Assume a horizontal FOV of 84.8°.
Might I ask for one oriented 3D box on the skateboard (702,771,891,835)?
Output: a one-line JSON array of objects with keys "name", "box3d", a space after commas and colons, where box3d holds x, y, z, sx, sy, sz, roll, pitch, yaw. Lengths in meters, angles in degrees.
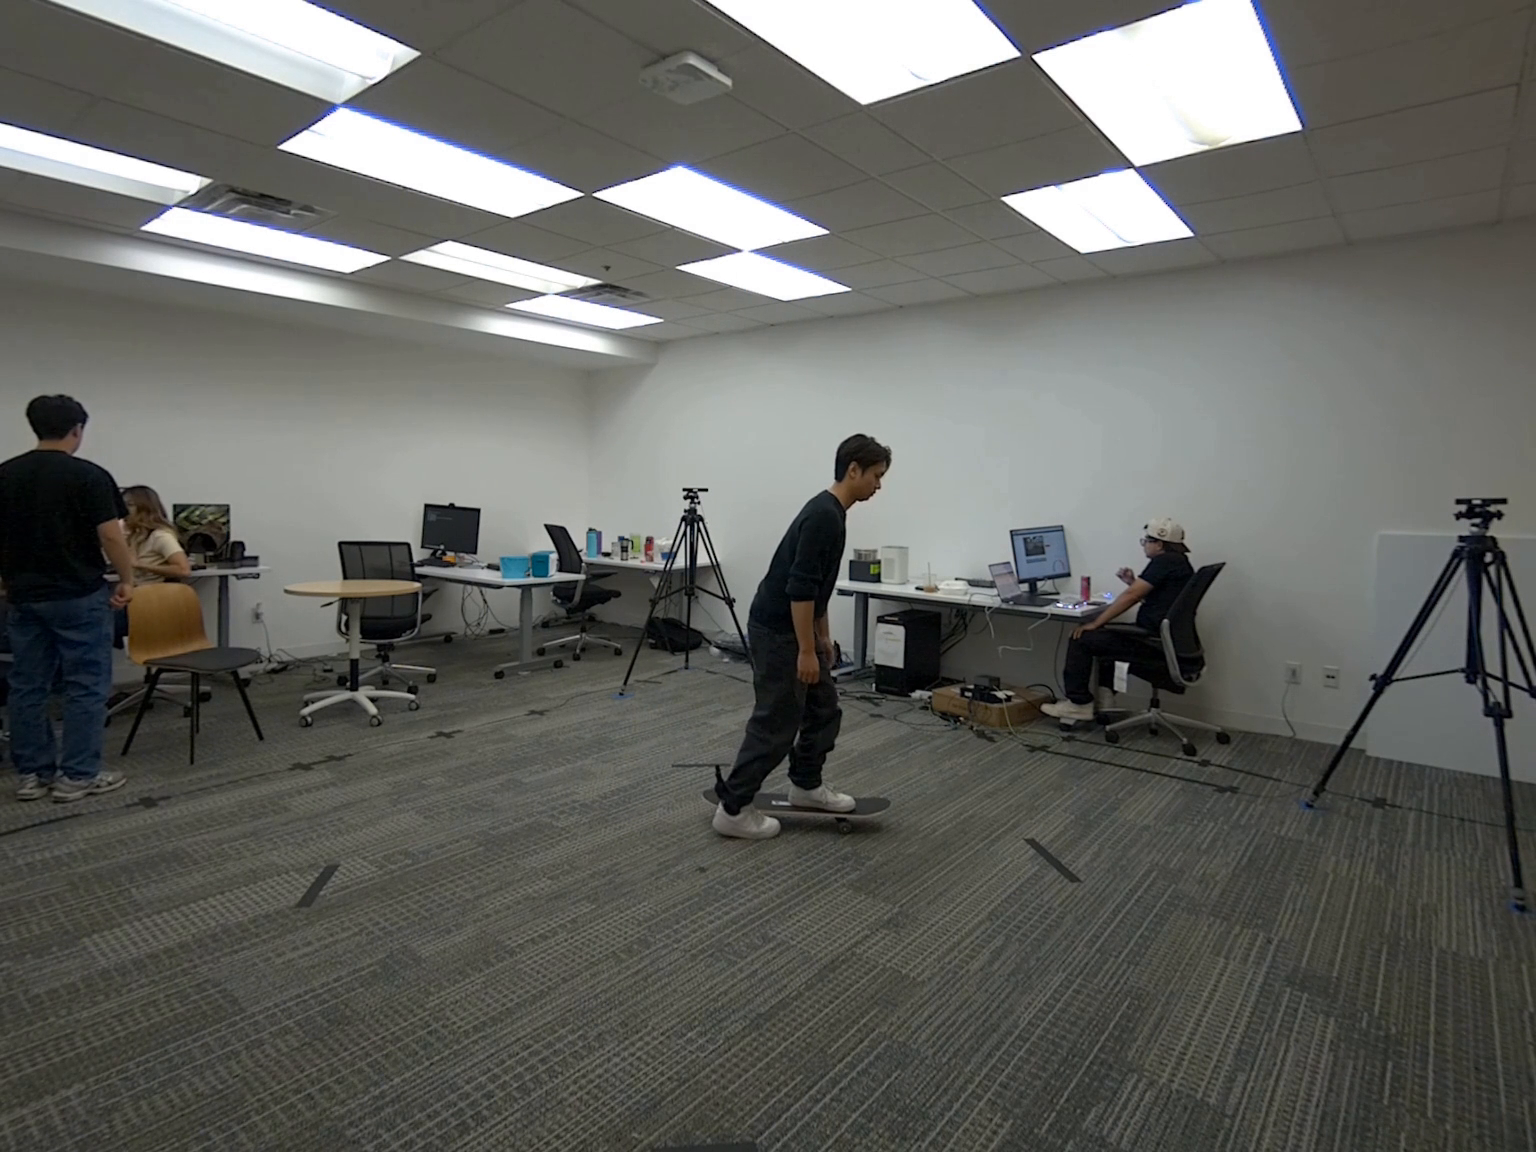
[{"name": "skateboard", "box3d": [0.107, 0.978, 3.563, 0.789, 0.110, 0.193, 3, 6, 4]}]
